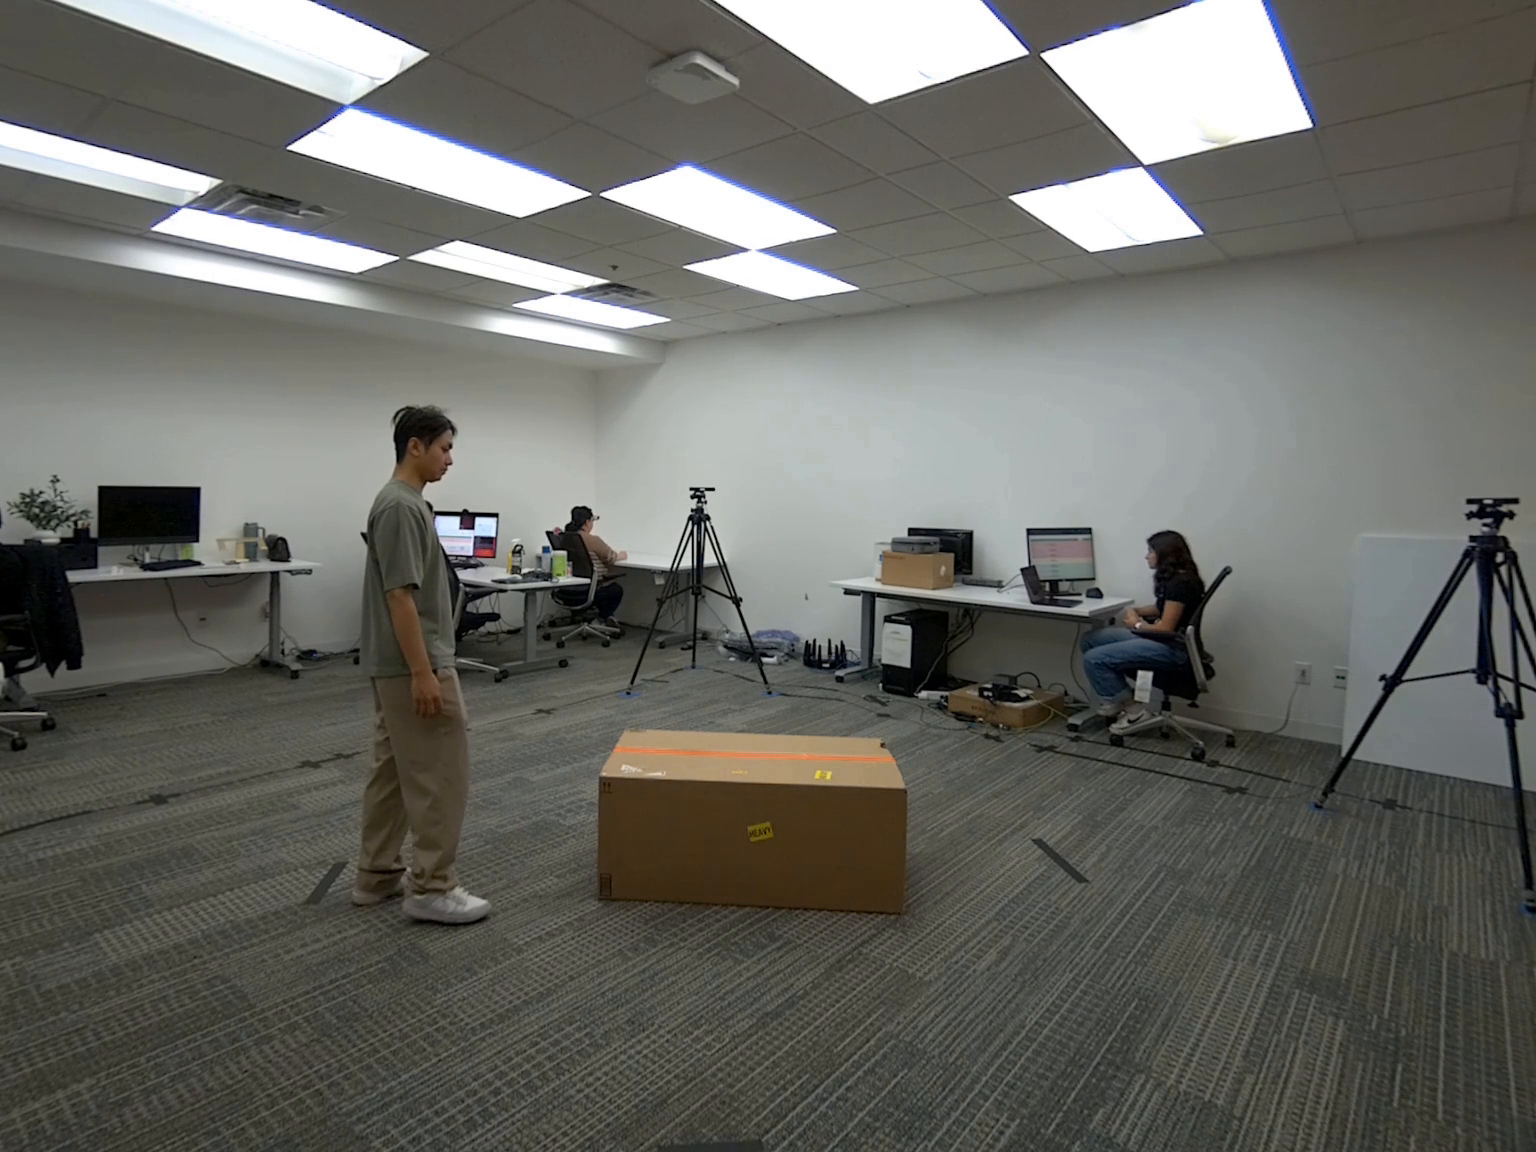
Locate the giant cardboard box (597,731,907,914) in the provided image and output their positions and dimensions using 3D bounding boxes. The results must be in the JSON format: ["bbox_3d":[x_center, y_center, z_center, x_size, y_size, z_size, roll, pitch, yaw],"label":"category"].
[{"bbox_3d":[-0.068,0.857,3.097,1.029,0.425,0.578,1,4,2],"label":"giant cardboard box"}]
